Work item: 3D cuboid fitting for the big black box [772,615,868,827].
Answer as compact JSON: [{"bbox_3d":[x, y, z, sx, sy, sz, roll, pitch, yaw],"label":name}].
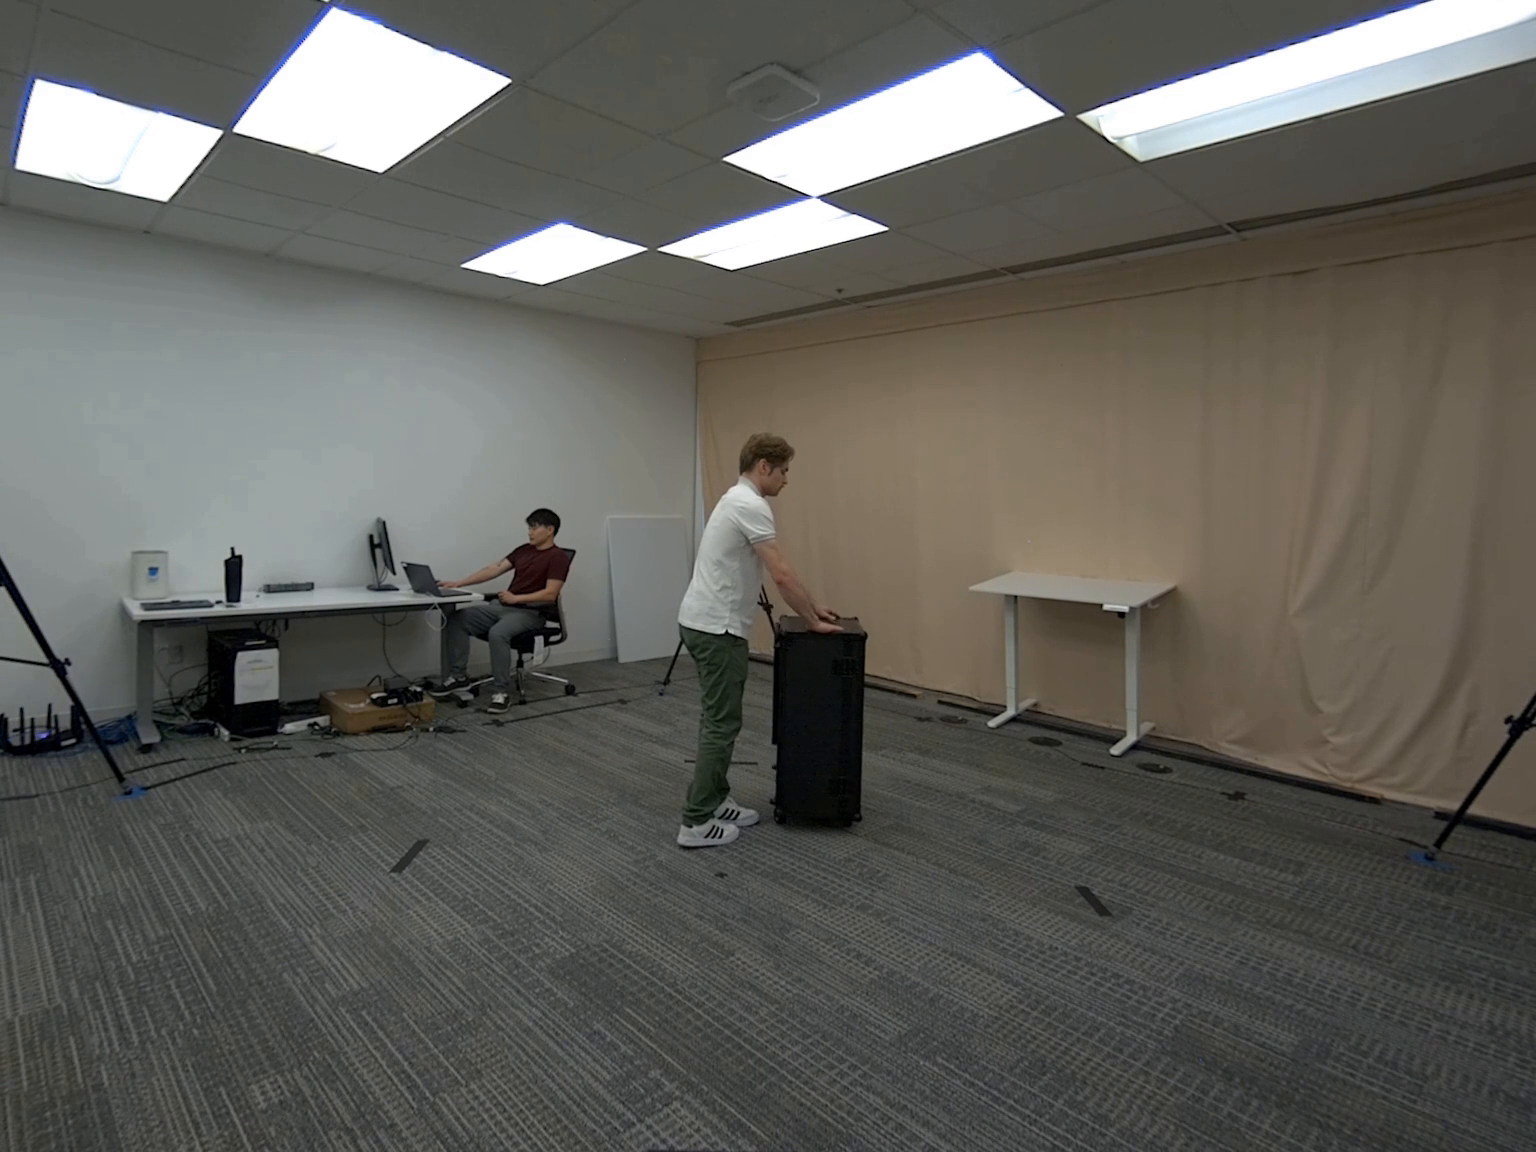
[{"bbox_3d":[0.210,0.634,3.710,0.386,0.867,0.524,2,3,1],"label":"big black box"}]
